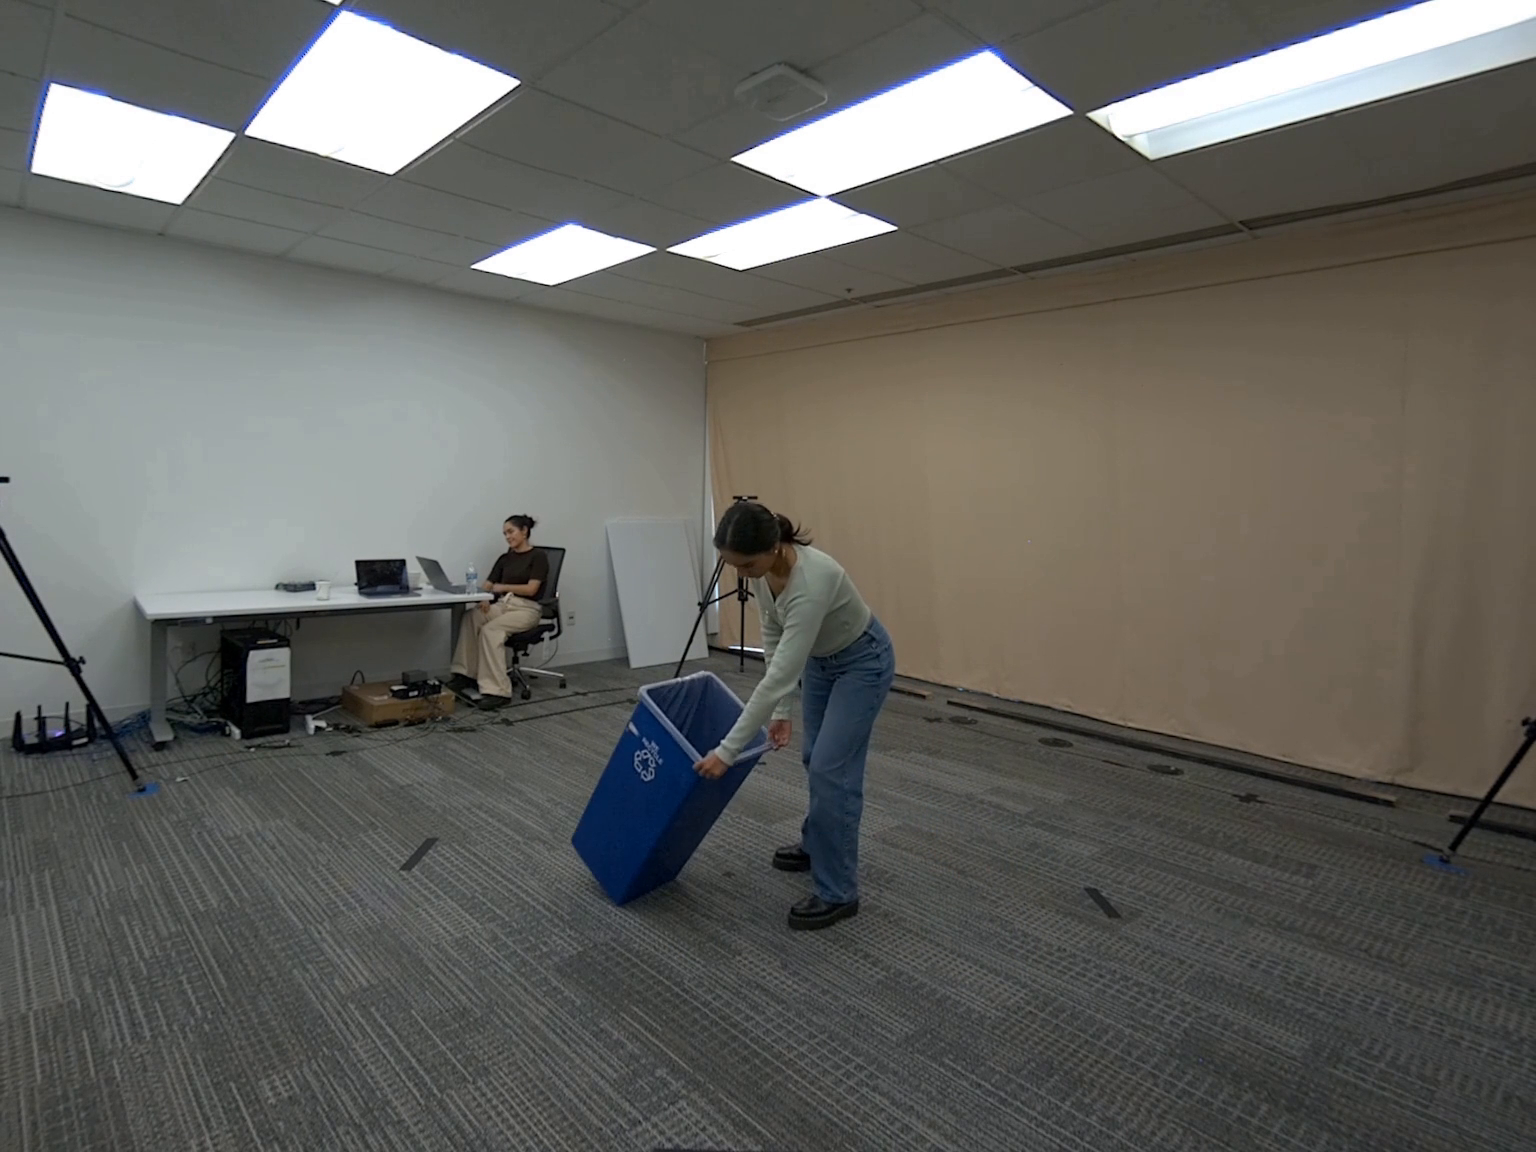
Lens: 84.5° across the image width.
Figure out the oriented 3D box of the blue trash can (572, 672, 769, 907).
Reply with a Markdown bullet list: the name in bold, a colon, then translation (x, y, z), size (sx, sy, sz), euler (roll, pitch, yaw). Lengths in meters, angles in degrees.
- **blue trash can**: translation (-0.350, 0.740, 2.876), size (0.384, 0.709, 0.370), euler (42, 27, 29)
